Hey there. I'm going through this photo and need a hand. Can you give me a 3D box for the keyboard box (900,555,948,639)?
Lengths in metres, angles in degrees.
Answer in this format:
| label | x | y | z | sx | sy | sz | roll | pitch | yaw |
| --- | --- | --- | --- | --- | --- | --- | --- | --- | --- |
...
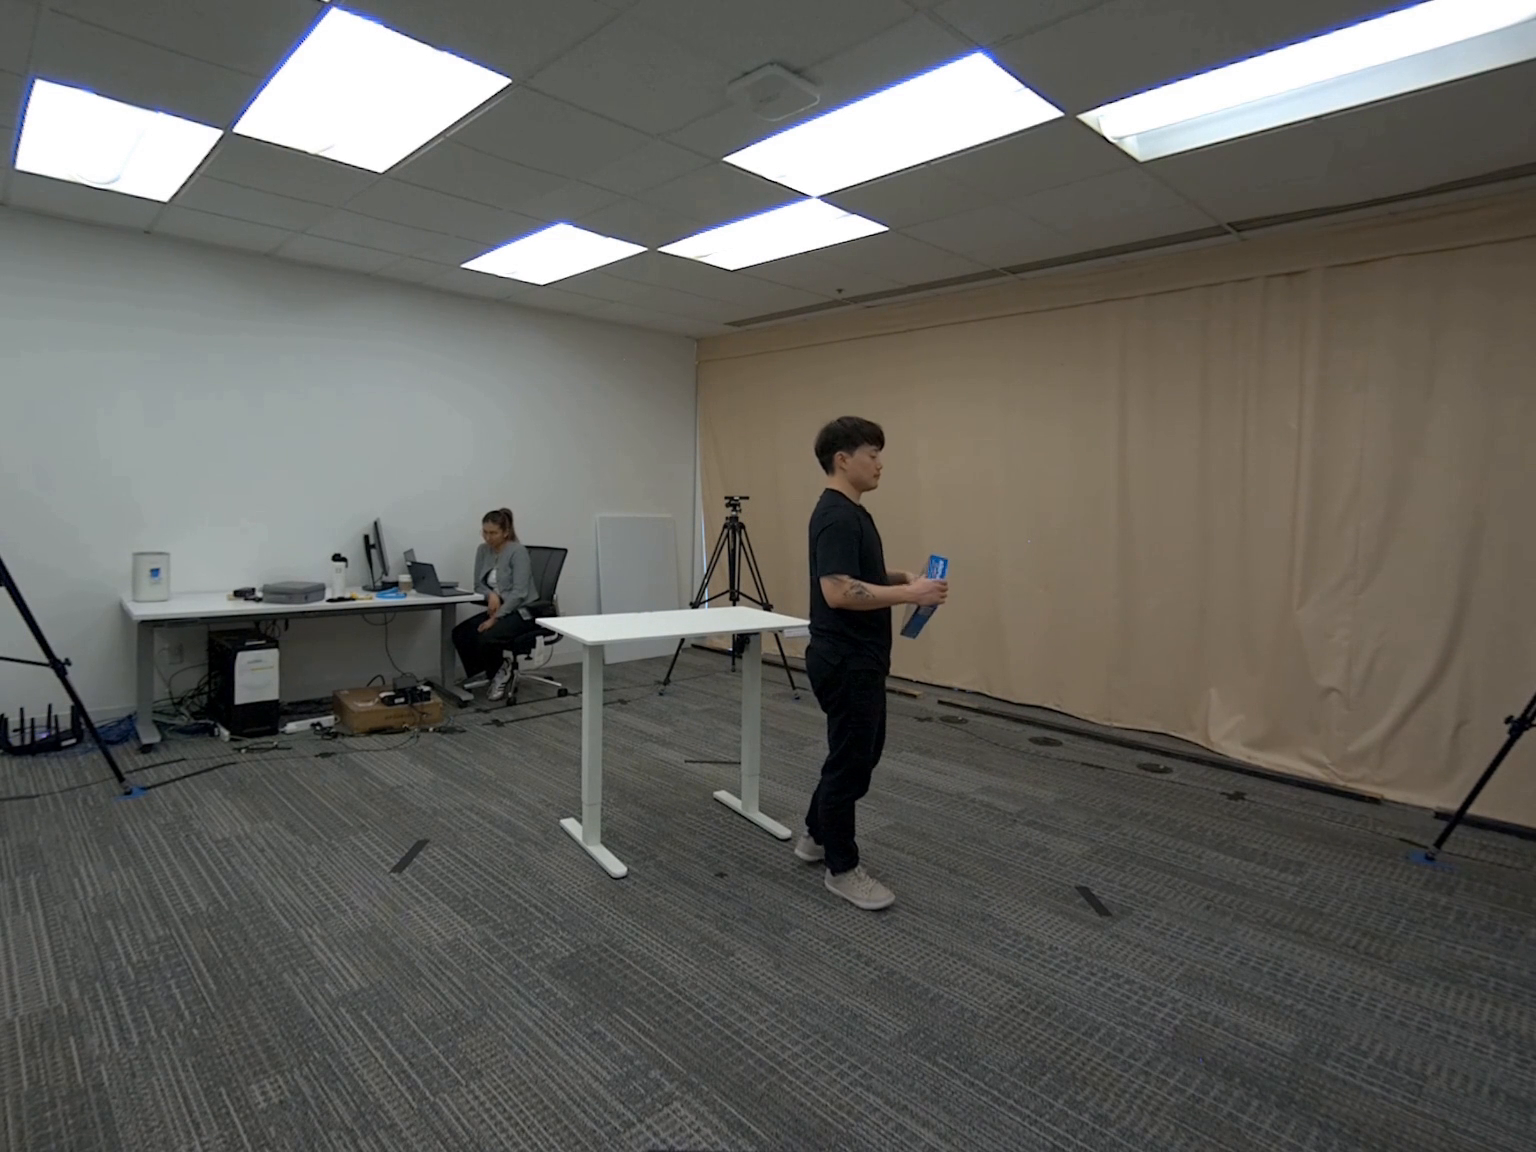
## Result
| label | x | y | z | sx | sy | sz | roll | pitch | yaw |
| --- | --- | --- | --- | --- | --- | --- | --- | --- | --- |
| keyboard box | 0.525 | 0.080 | 2.890 | 0.059 | 0.177 | 0.430 | 15 | -18 | 5 |
